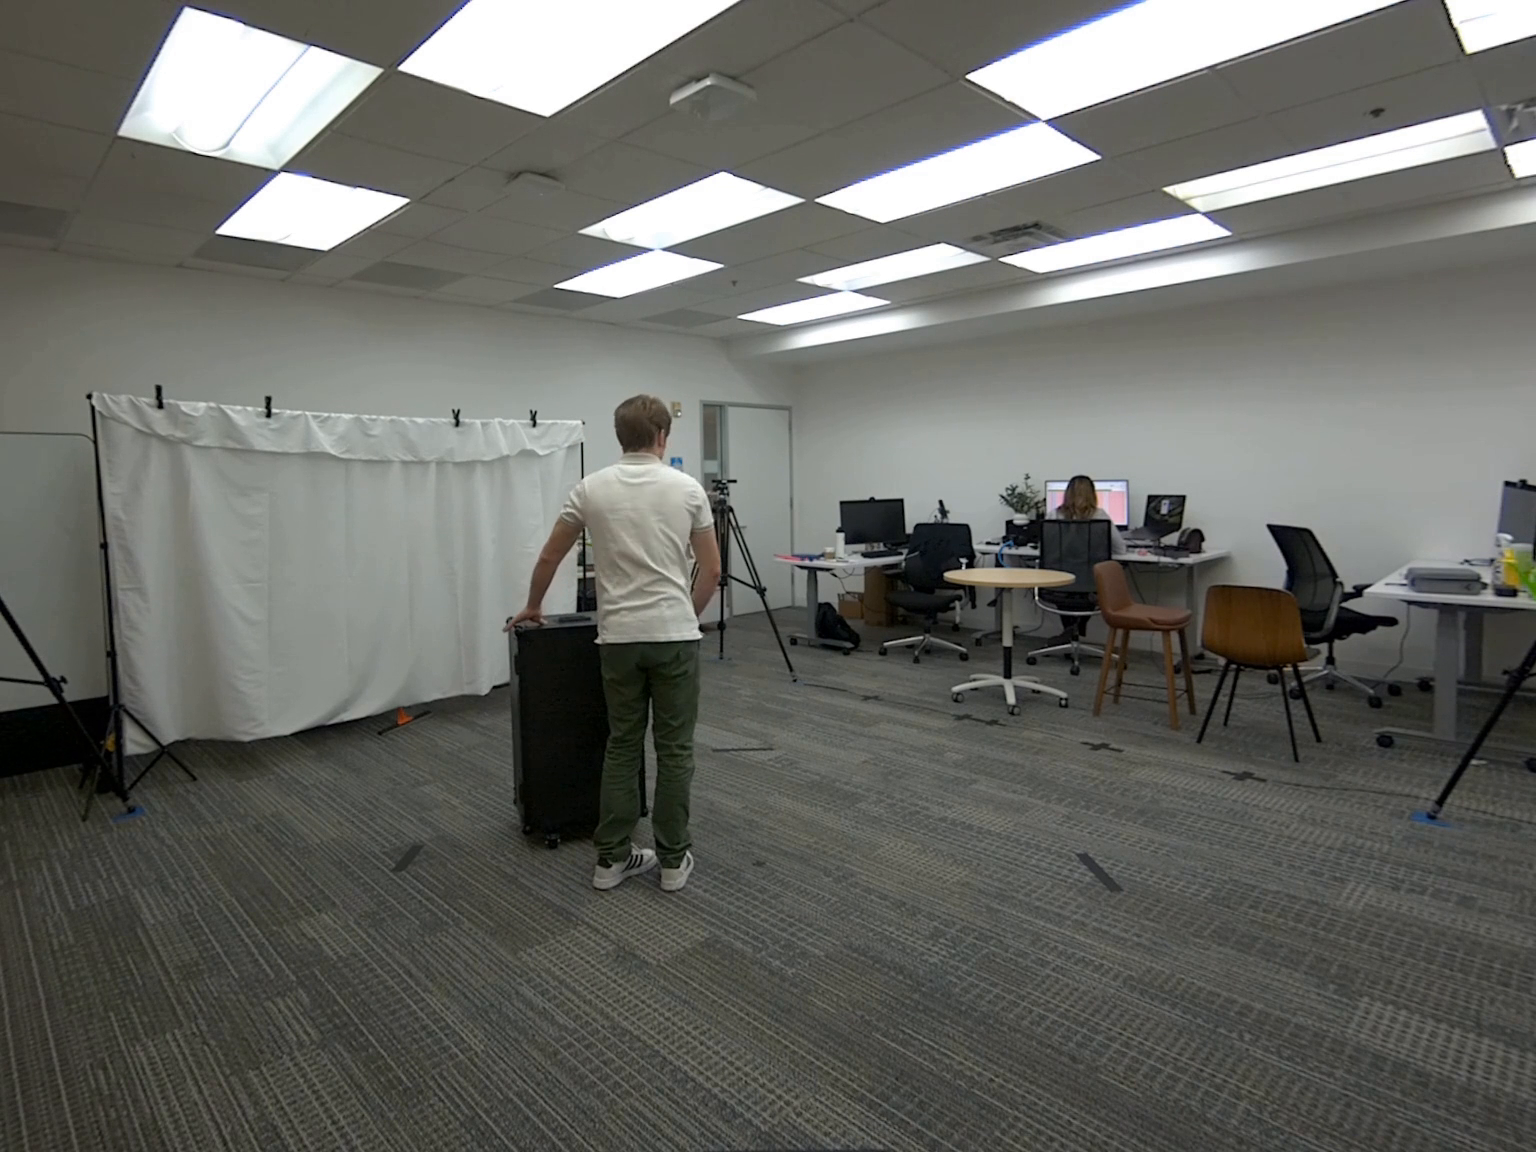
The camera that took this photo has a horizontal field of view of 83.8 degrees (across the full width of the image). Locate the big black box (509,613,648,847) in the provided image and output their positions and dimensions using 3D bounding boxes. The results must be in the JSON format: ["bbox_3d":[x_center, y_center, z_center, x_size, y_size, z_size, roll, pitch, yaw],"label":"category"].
[{"bbox_3d":[-0.801,0.606,3.470,0.513,0.867,0.394,-3,2,-24],"label":"big black box"}]
